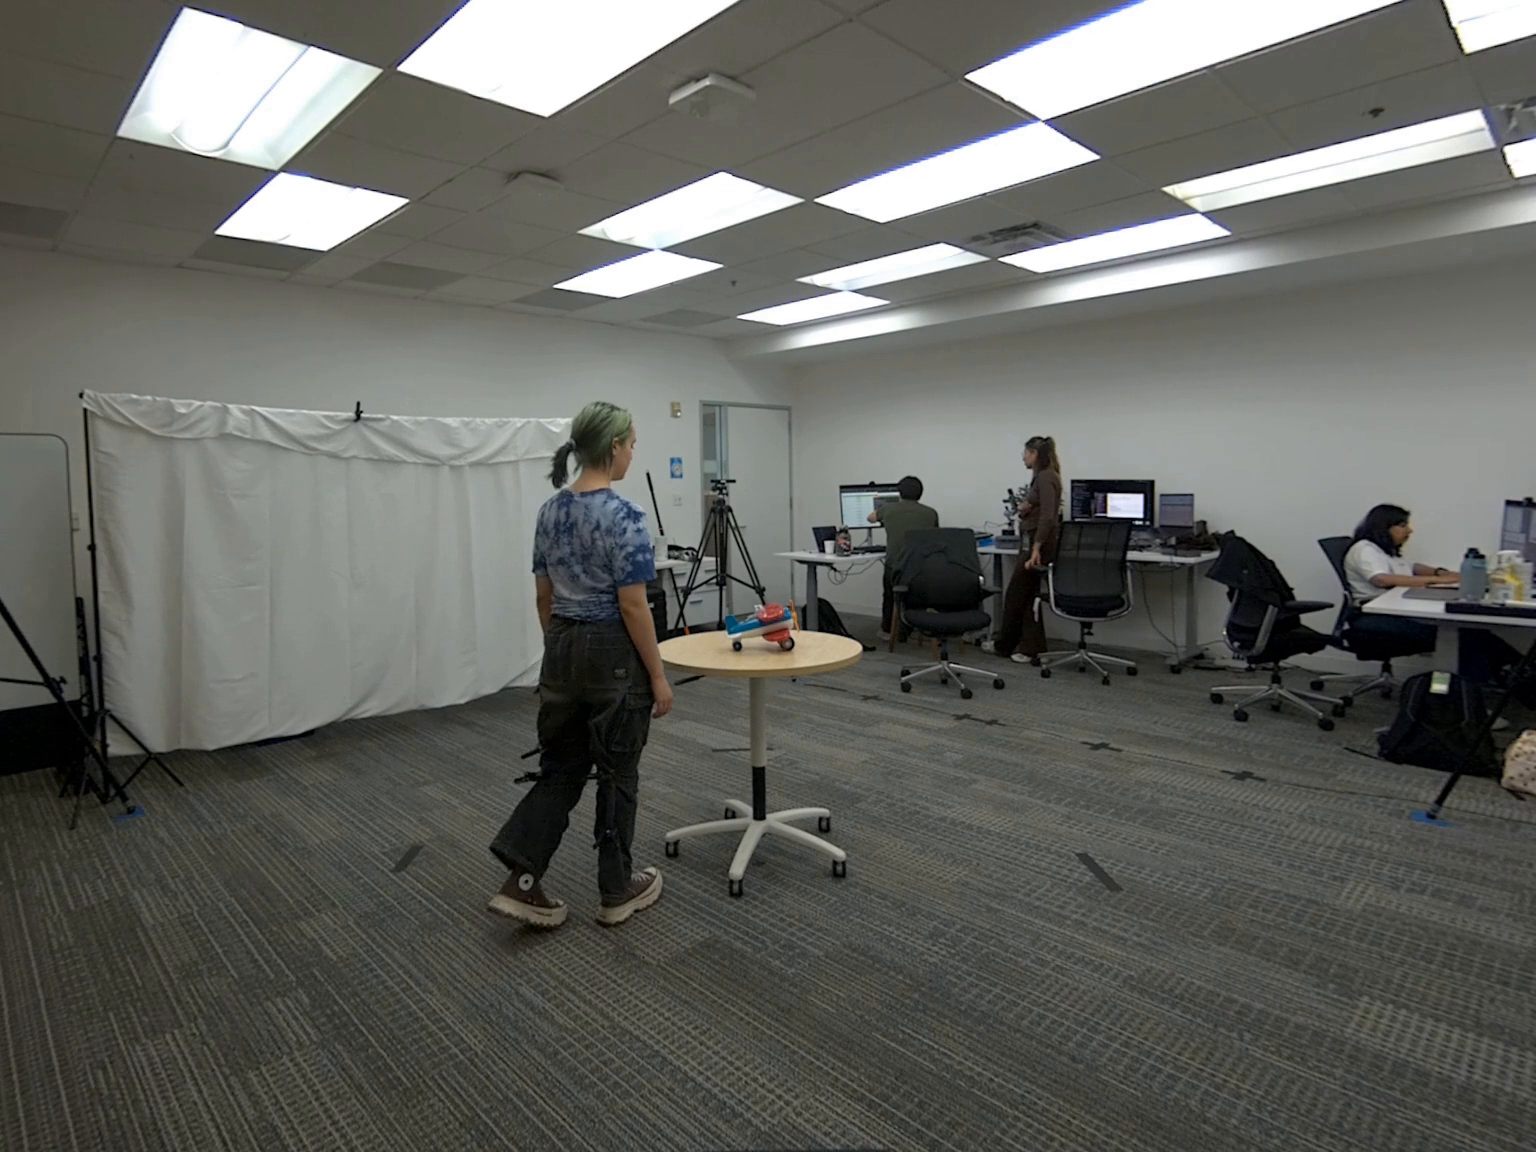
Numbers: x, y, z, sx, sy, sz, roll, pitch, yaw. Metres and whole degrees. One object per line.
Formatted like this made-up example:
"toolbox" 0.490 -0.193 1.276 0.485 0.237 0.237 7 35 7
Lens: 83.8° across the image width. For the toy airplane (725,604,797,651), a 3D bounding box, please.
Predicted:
"toy airplane" -0.014 0.190 3.066 0.252 0.156 0.258 -3 5 -34
